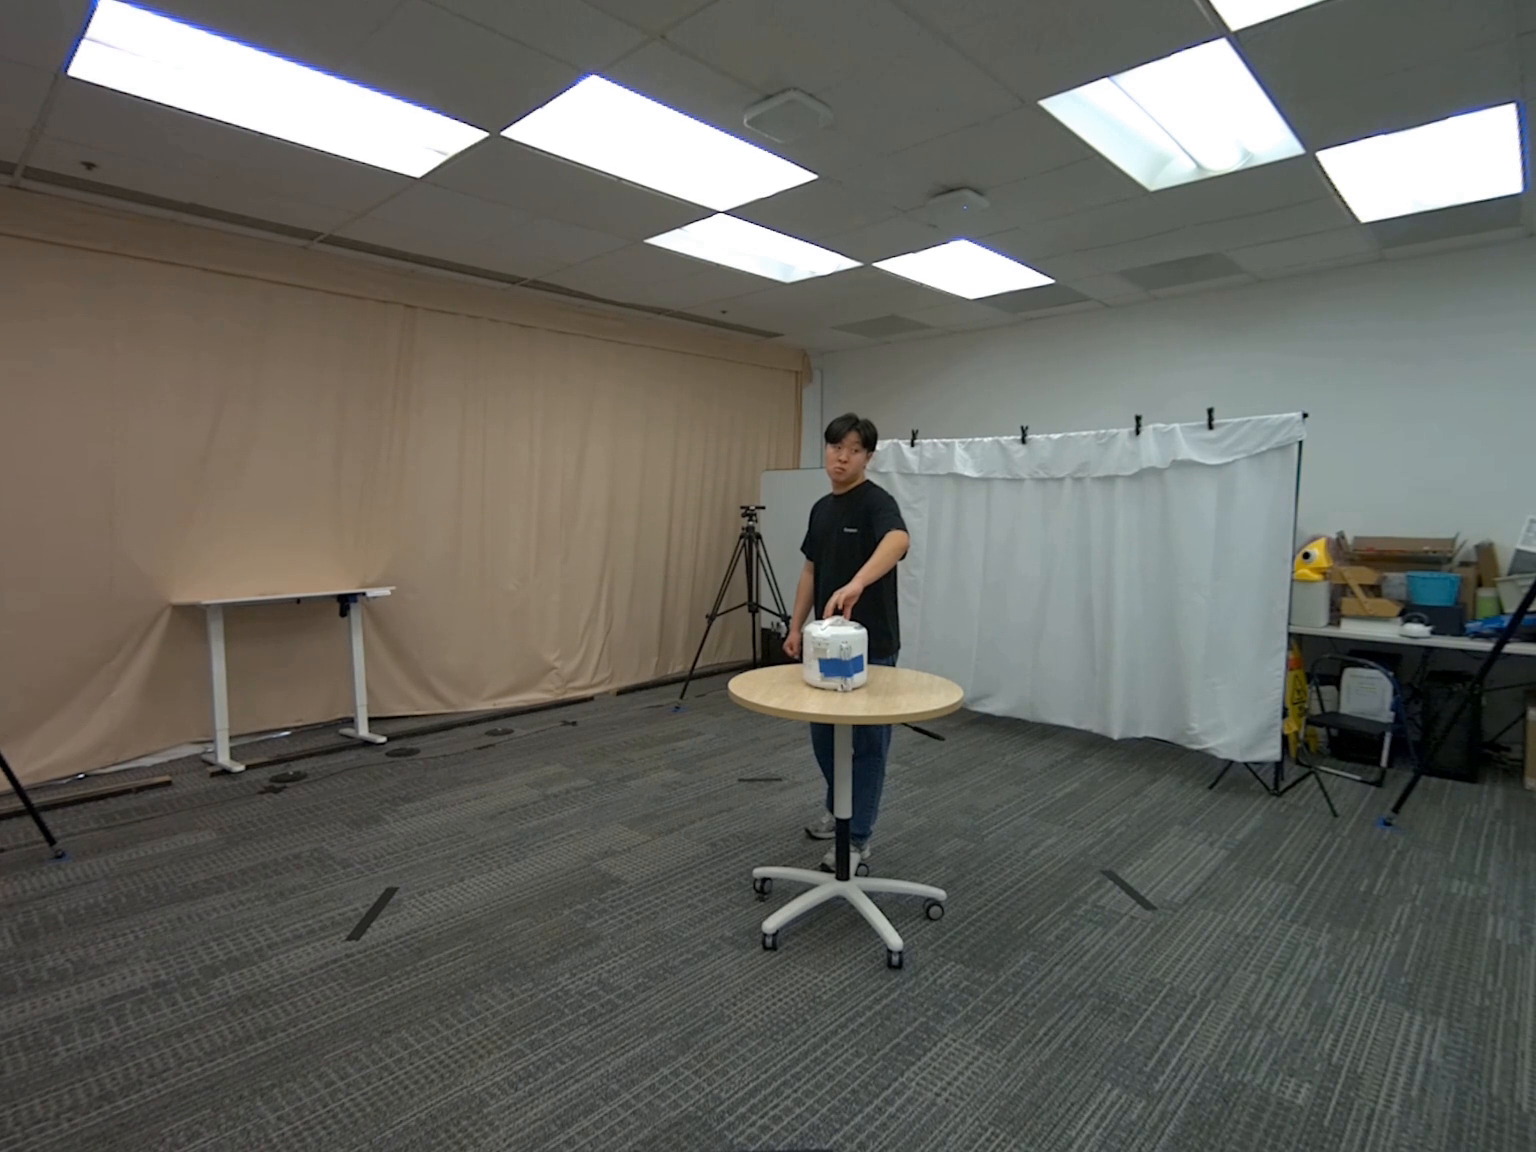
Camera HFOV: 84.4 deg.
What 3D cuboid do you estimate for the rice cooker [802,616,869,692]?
[{"bbox_3d":[0.218,0.245,2.792,0.224,0.232,0.214,4,6,34],"label":"rice cooker"}]
